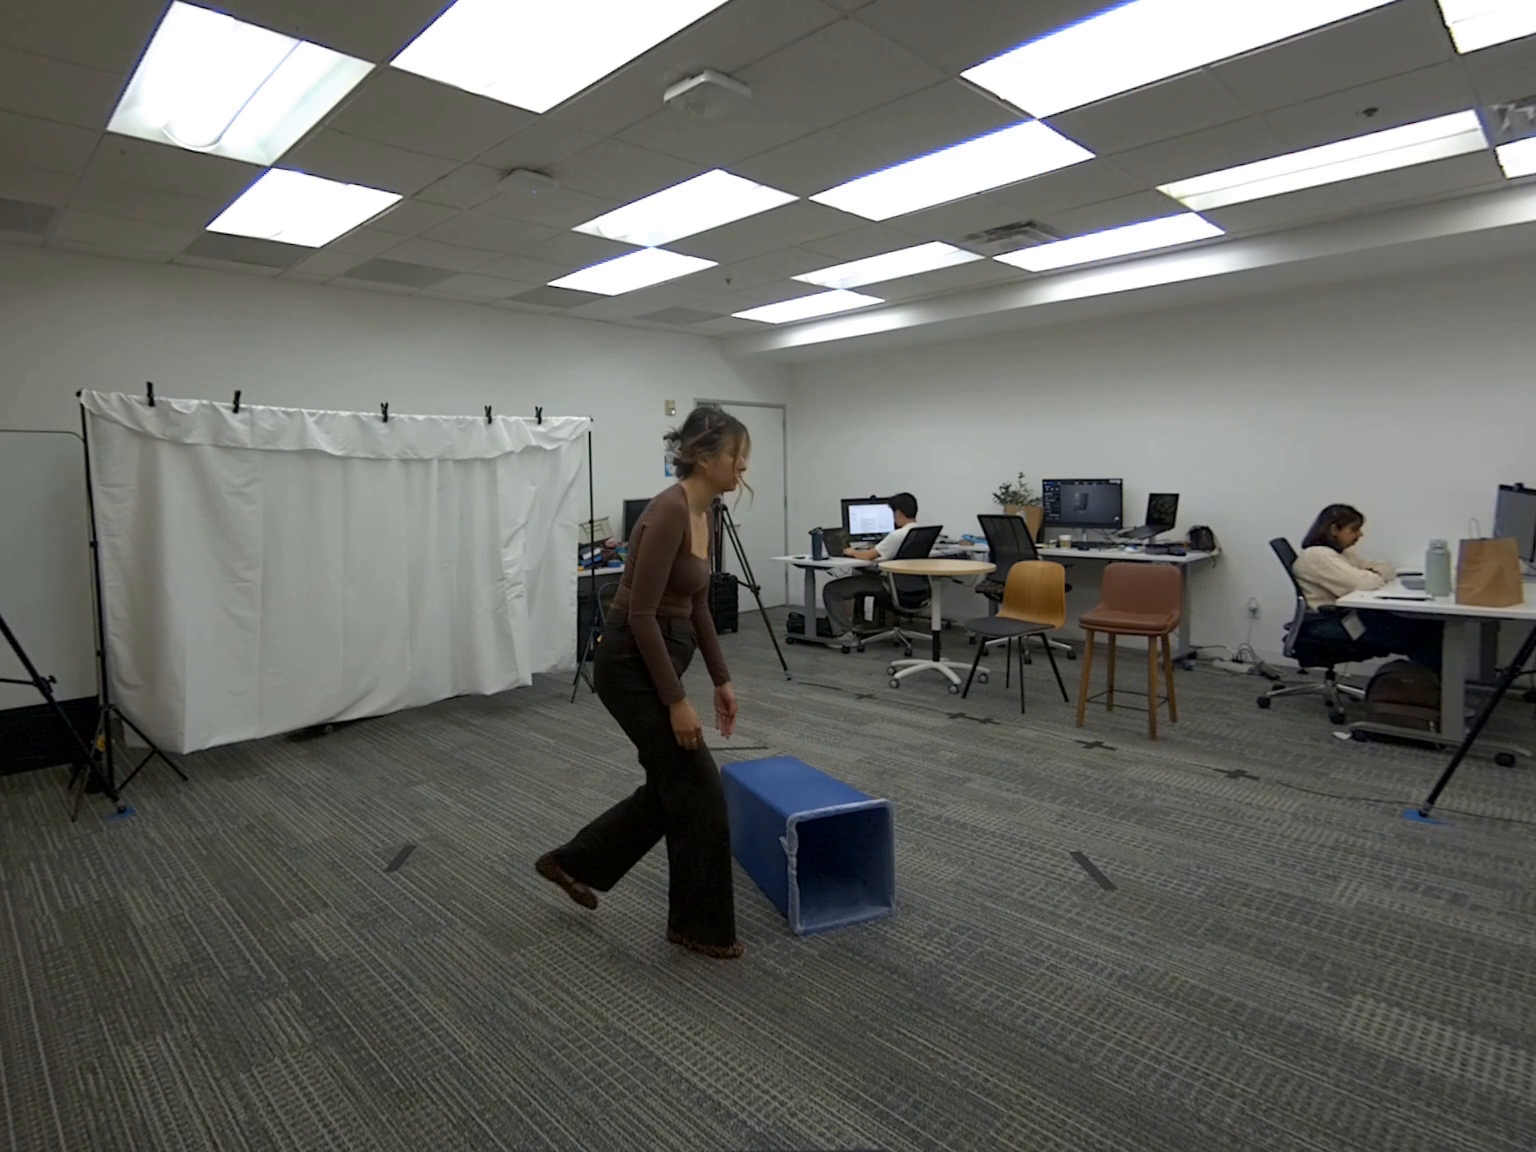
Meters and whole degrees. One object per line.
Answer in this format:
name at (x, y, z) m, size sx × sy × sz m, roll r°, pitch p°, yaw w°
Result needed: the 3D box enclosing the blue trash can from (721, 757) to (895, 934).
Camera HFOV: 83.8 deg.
blue trash can at (0.107, 0.881, 2.992) m, size 0.367 × 0.377 × 0.729 m, roll -4°, pitch 5°, yaw -22°
